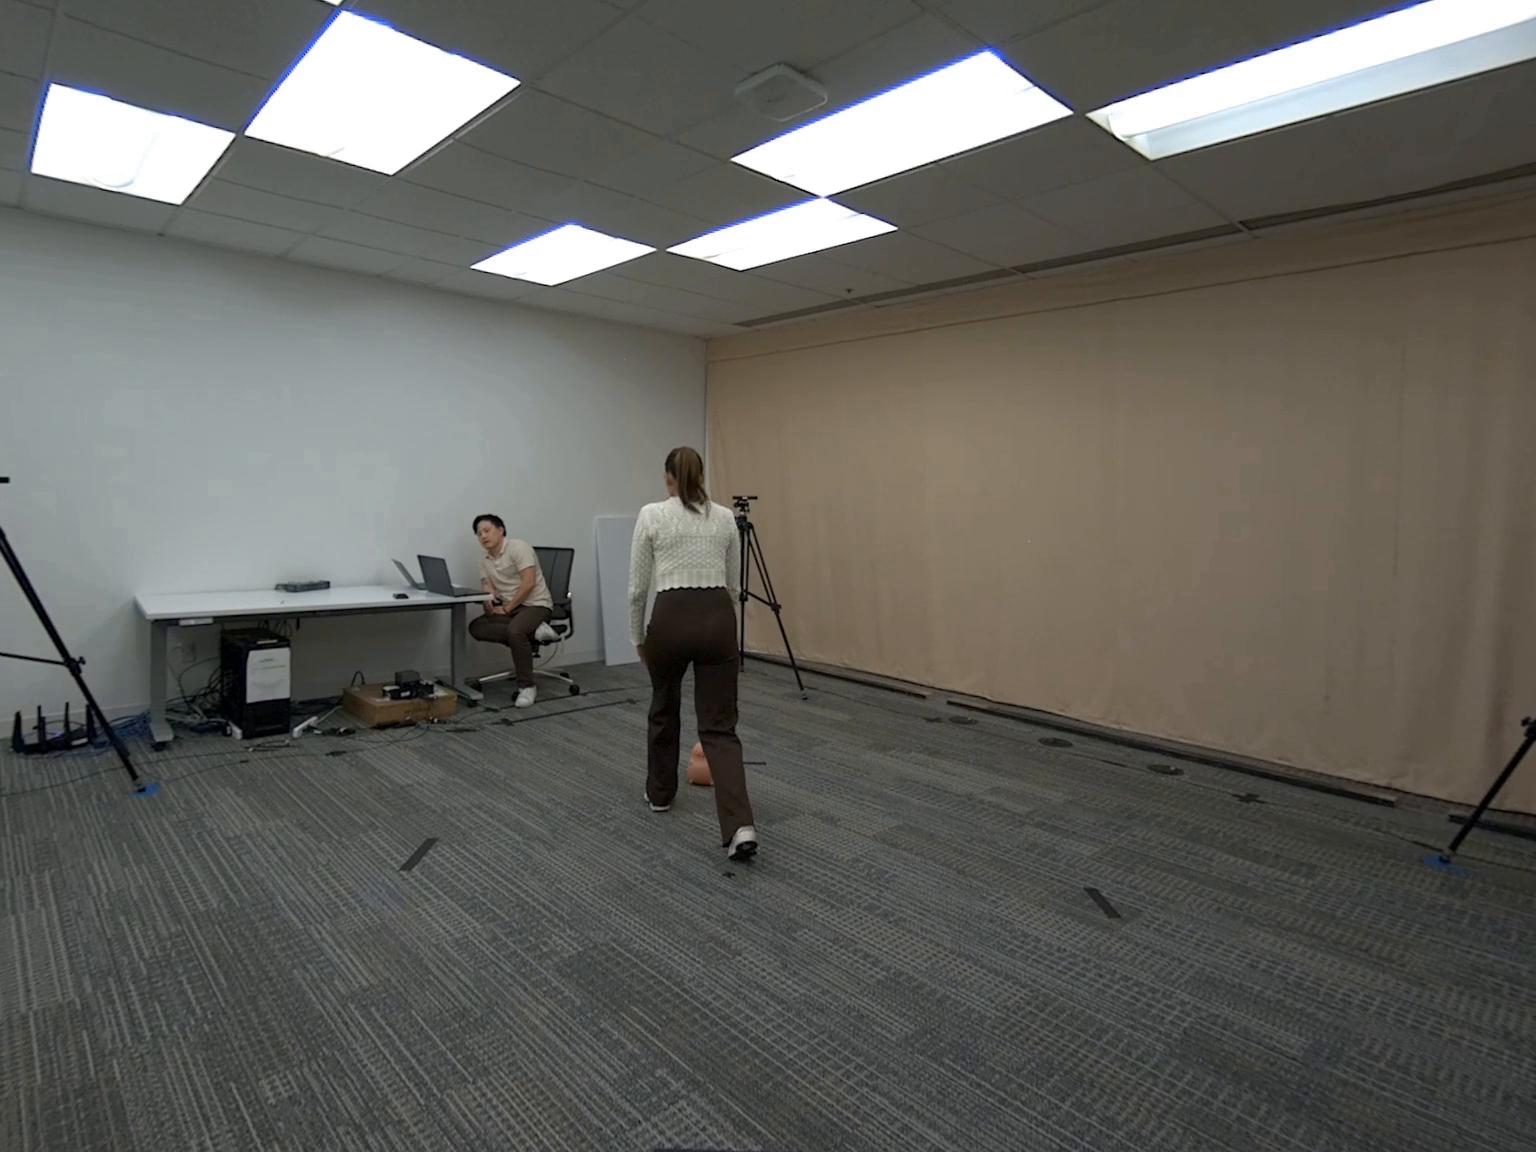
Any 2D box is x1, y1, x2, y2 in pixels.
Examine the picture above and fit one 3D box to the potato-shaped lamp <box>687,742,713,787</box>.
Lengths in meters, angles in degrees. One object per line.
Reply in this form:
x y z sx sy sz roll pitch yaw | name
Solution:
-0.320 0.904 4.127 0.167 0.197 0.169 4 4 15 | potato-shaped lamp
